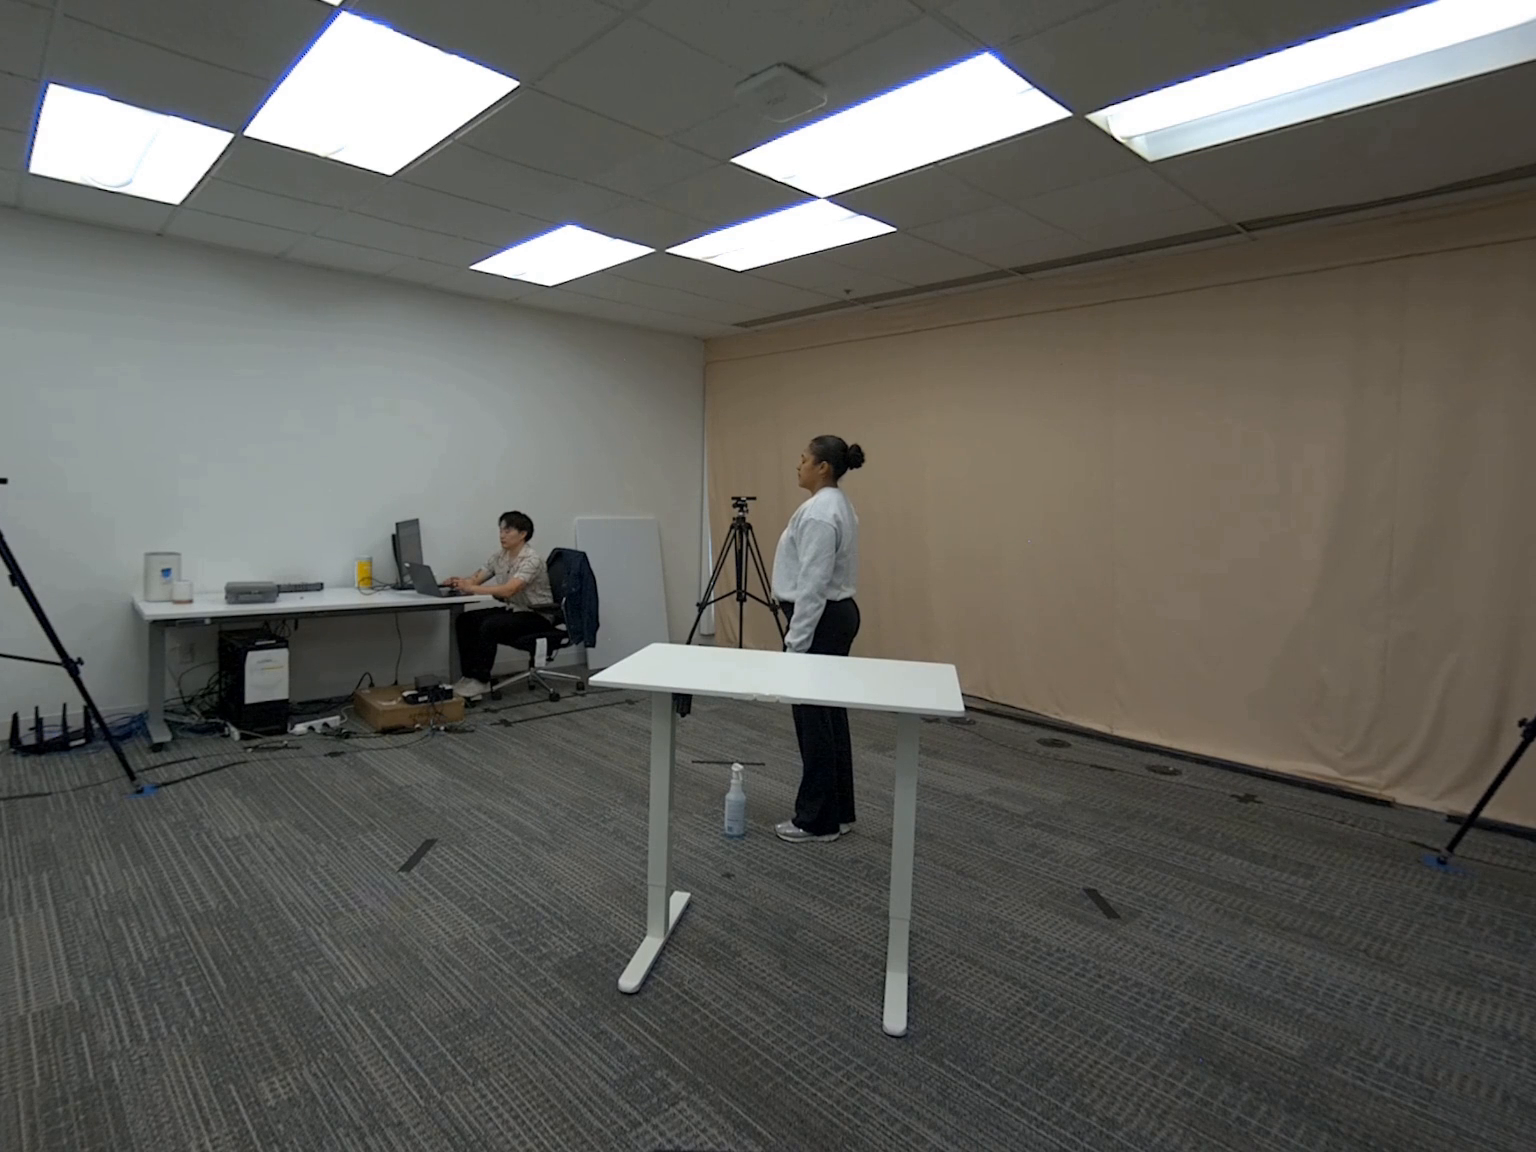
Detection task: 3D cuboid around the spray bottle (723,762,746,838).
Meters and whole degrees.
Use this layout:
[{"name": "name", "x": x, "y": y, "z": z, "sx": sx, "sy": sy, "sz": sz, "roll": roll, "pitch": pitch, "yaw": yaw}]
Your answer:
[{"name": "spray bottle", "x": -0.145, "y": 0.926, "z": 3.489, "sx": 0.087, "sy": 0.296, "sz": 0.090, "roll": 2, "pitch": 5, "yaw": -3}]
